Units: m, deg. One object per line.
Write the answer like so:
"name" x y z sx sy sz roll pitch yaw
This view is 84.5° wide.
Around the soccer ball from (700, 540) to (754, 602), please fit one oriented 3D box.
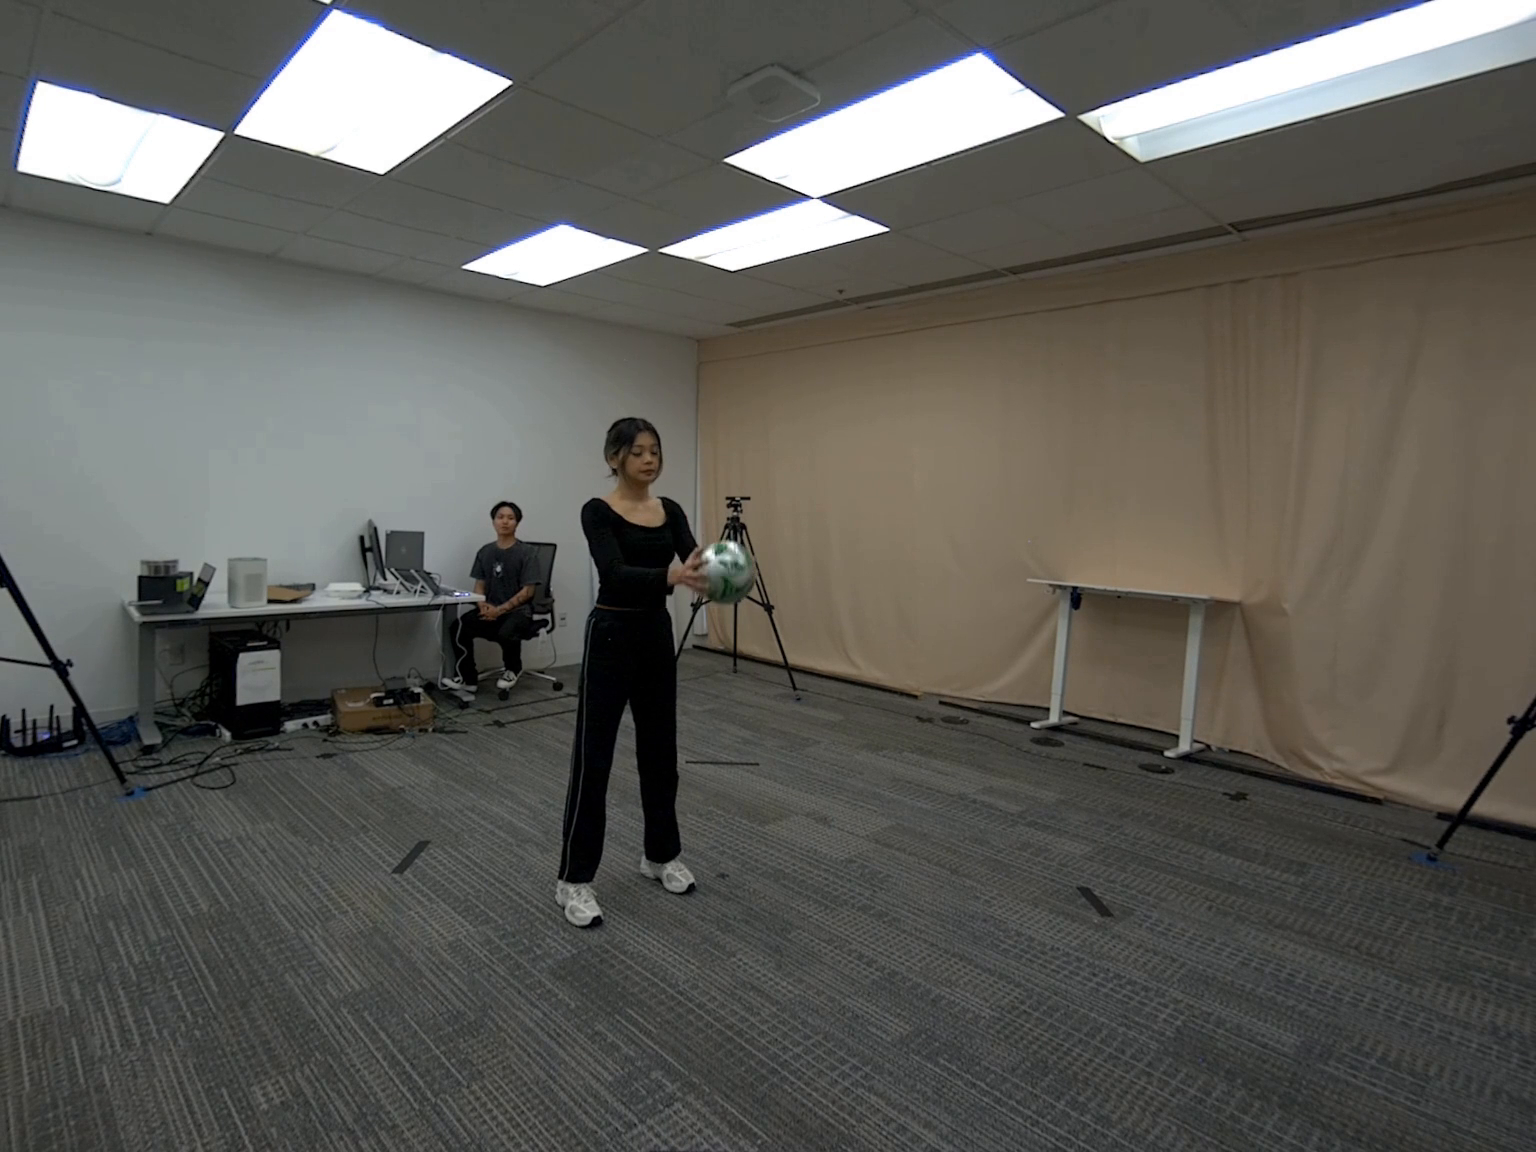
"soccer ball" -0.150 -0.055 2.513 0.187 0.187 0.188 1 4 -1
